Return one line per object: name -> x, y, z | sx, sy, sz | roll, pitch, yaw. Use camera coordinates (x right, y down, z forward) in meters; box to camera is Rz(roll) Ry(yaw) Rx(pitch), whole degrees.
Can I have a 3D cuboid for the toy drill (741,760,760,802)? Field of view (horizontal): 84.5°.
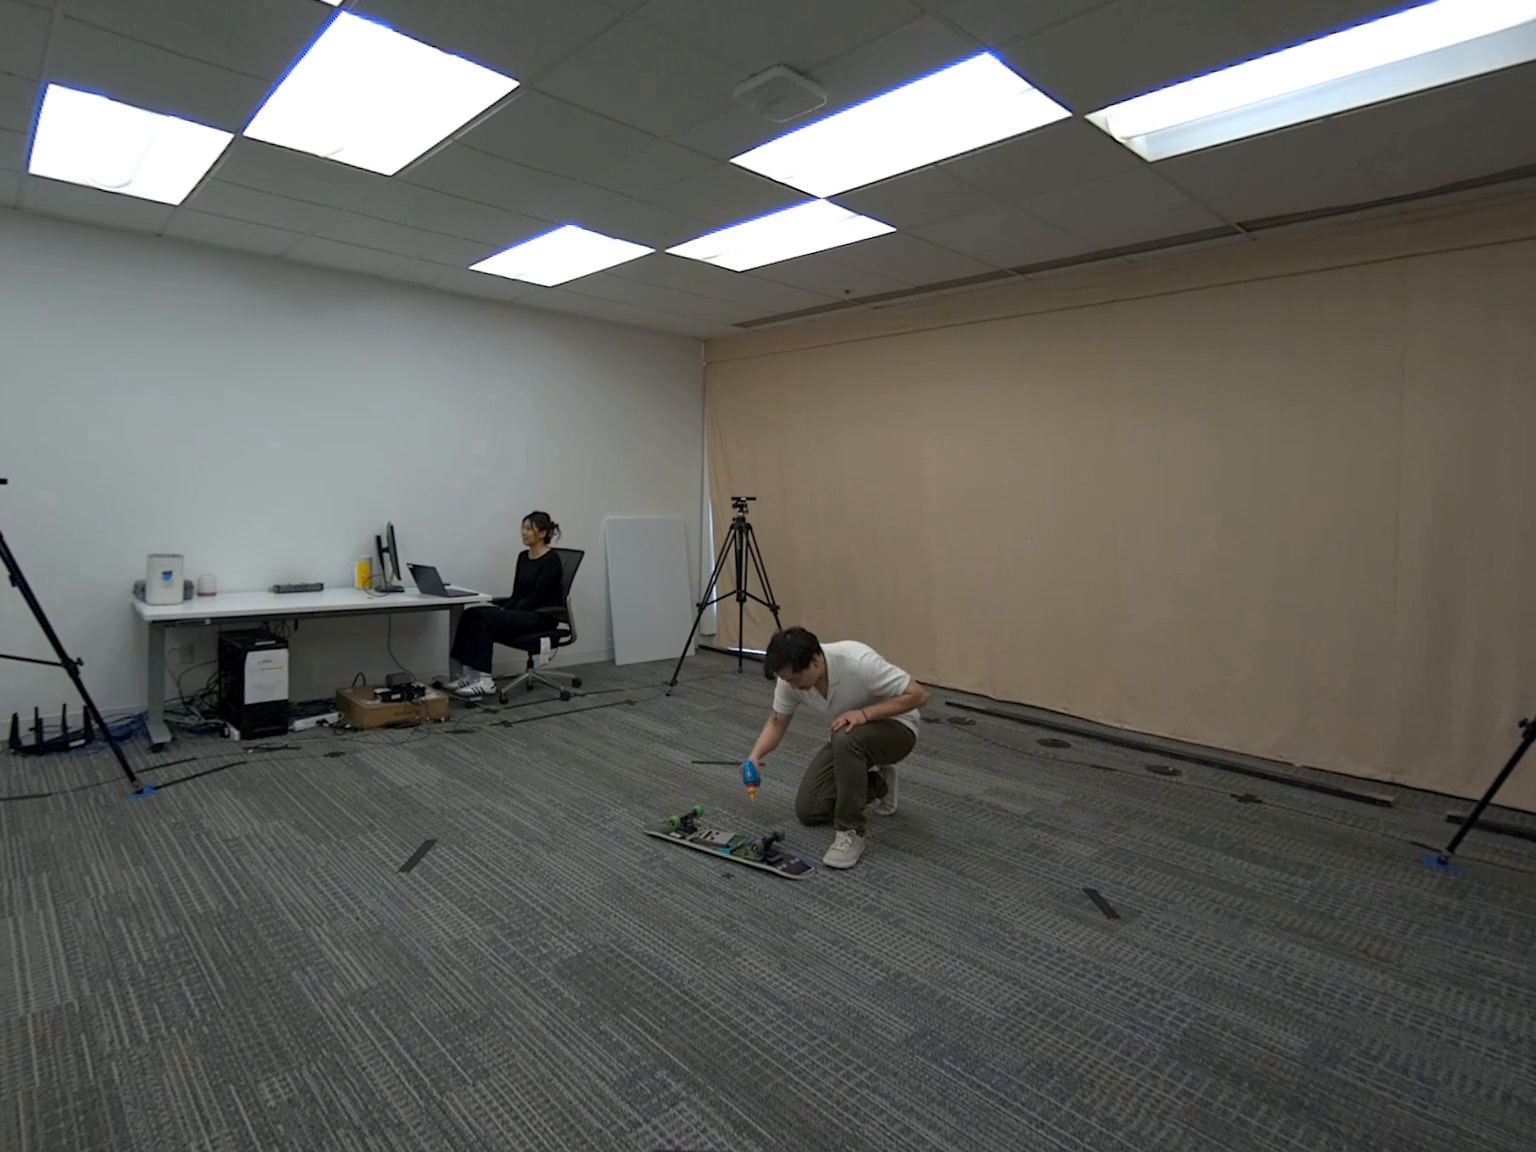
toy drill -> -0.065, 0.847, 3.428 | 0.061, 0.173, 0.143 | -9, -30, 0
